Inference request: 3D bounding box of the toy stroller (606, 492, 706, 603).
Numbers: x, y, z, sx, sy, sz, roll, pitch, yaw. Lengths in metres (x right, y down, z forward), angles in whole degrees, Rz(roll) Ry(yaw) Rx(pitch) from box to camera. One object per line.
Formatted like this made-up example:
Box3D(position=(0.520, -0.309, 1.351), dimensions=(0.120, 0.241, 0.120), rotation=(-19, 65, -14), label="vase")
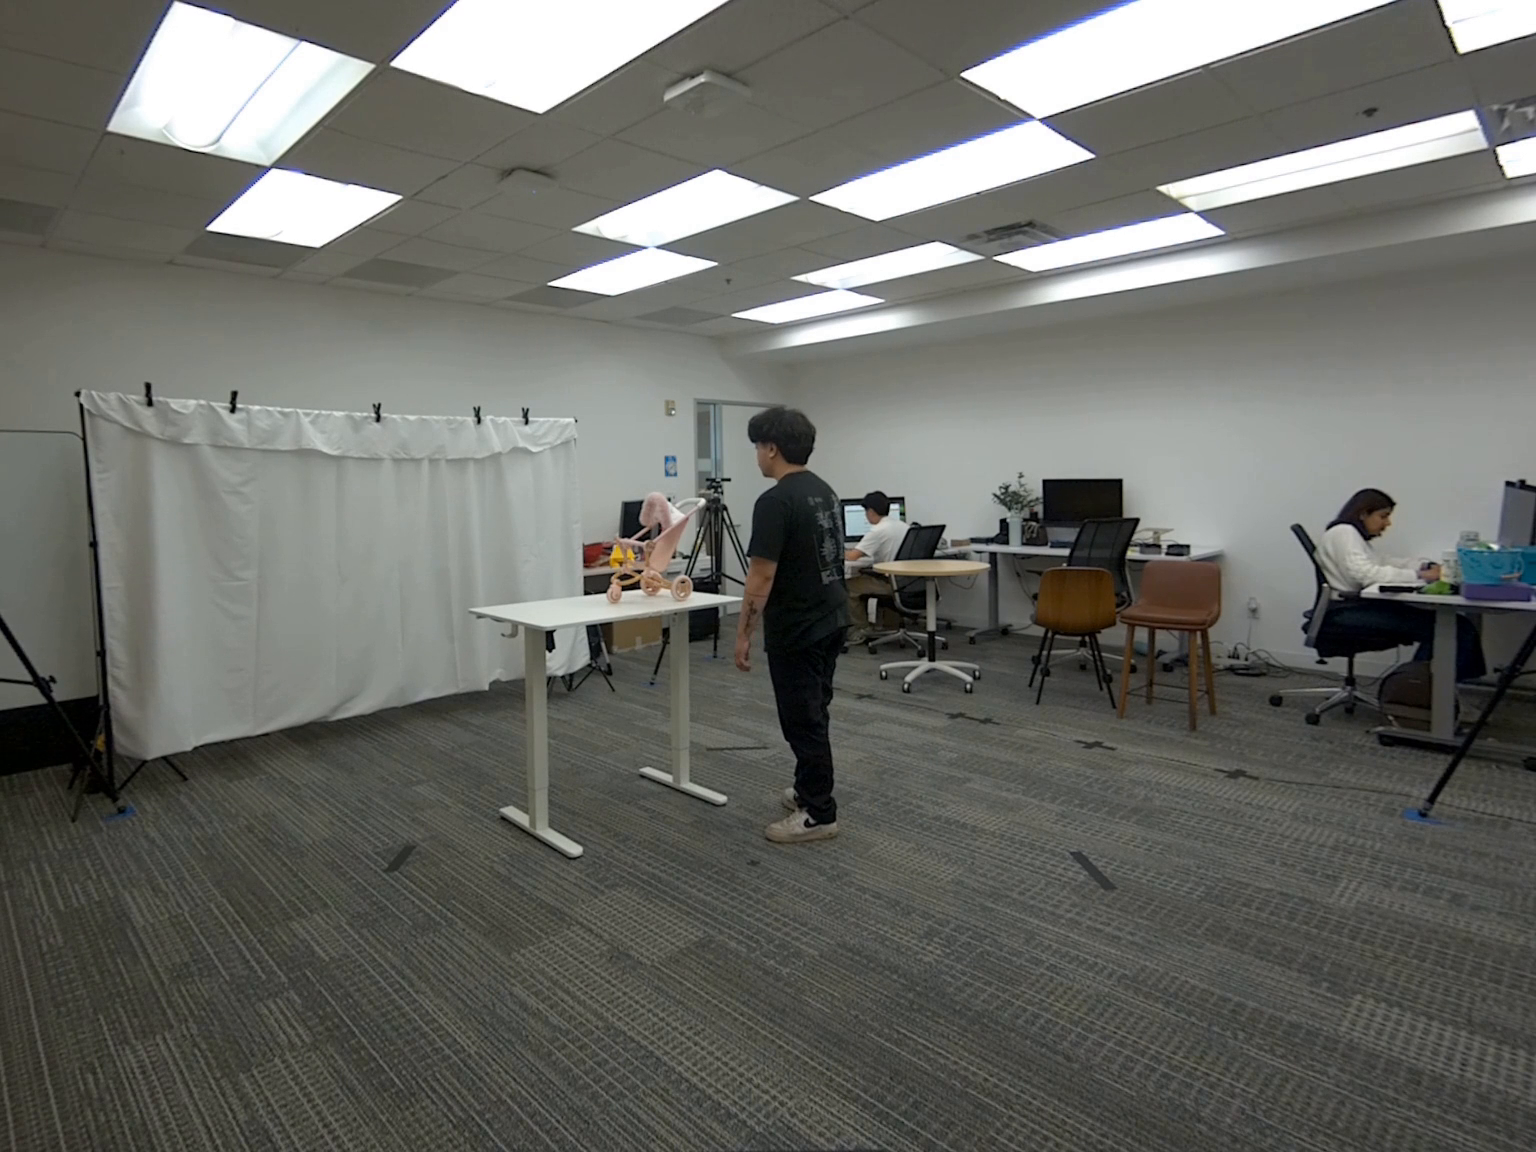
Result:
Box3D(position=(-0.501, -0.123, 3.707), dimensions=(0.331, 0.537, 0.289), rotation=(15, -5, -32), label="toy stroller")
